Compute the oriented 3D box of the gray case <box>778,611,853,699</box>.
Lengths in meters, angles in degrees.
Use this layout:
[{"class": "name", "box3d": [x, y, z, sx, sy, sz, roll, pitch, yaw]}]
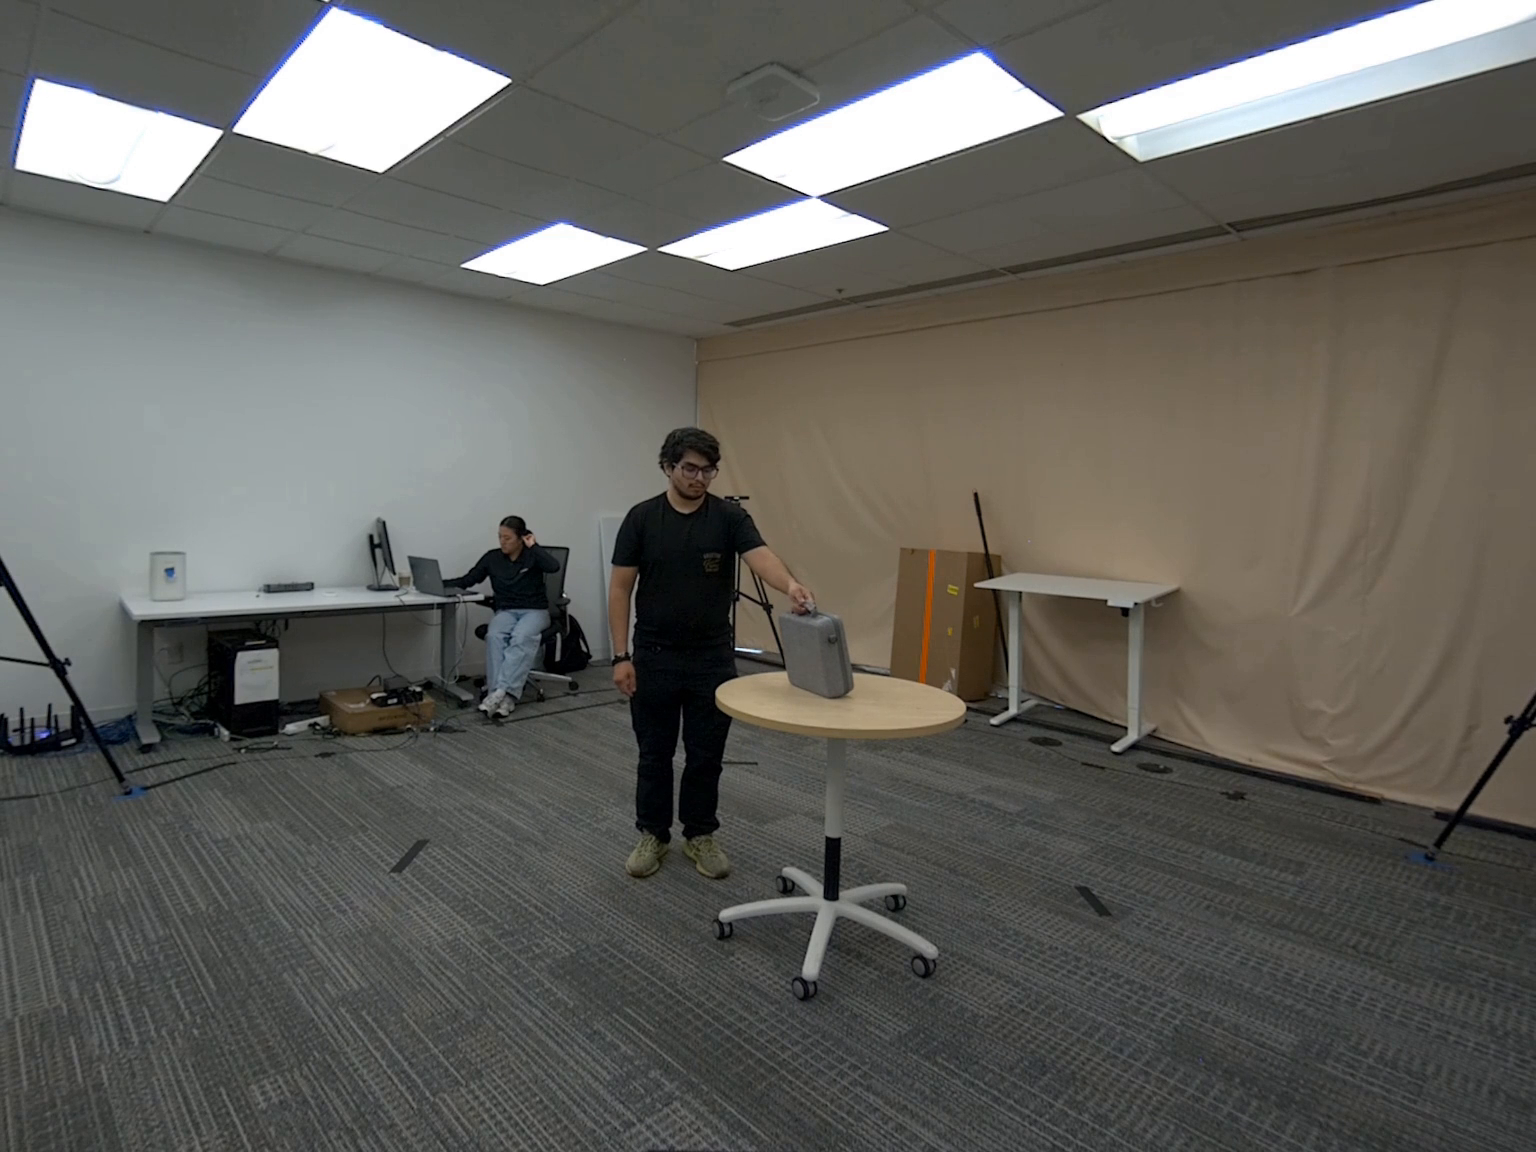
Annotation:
[{"class": "gray case", "box3d": [0.145, 0.237, 2.665, 0.103, 0.258, 0.263, -12, 11, -27]}]
